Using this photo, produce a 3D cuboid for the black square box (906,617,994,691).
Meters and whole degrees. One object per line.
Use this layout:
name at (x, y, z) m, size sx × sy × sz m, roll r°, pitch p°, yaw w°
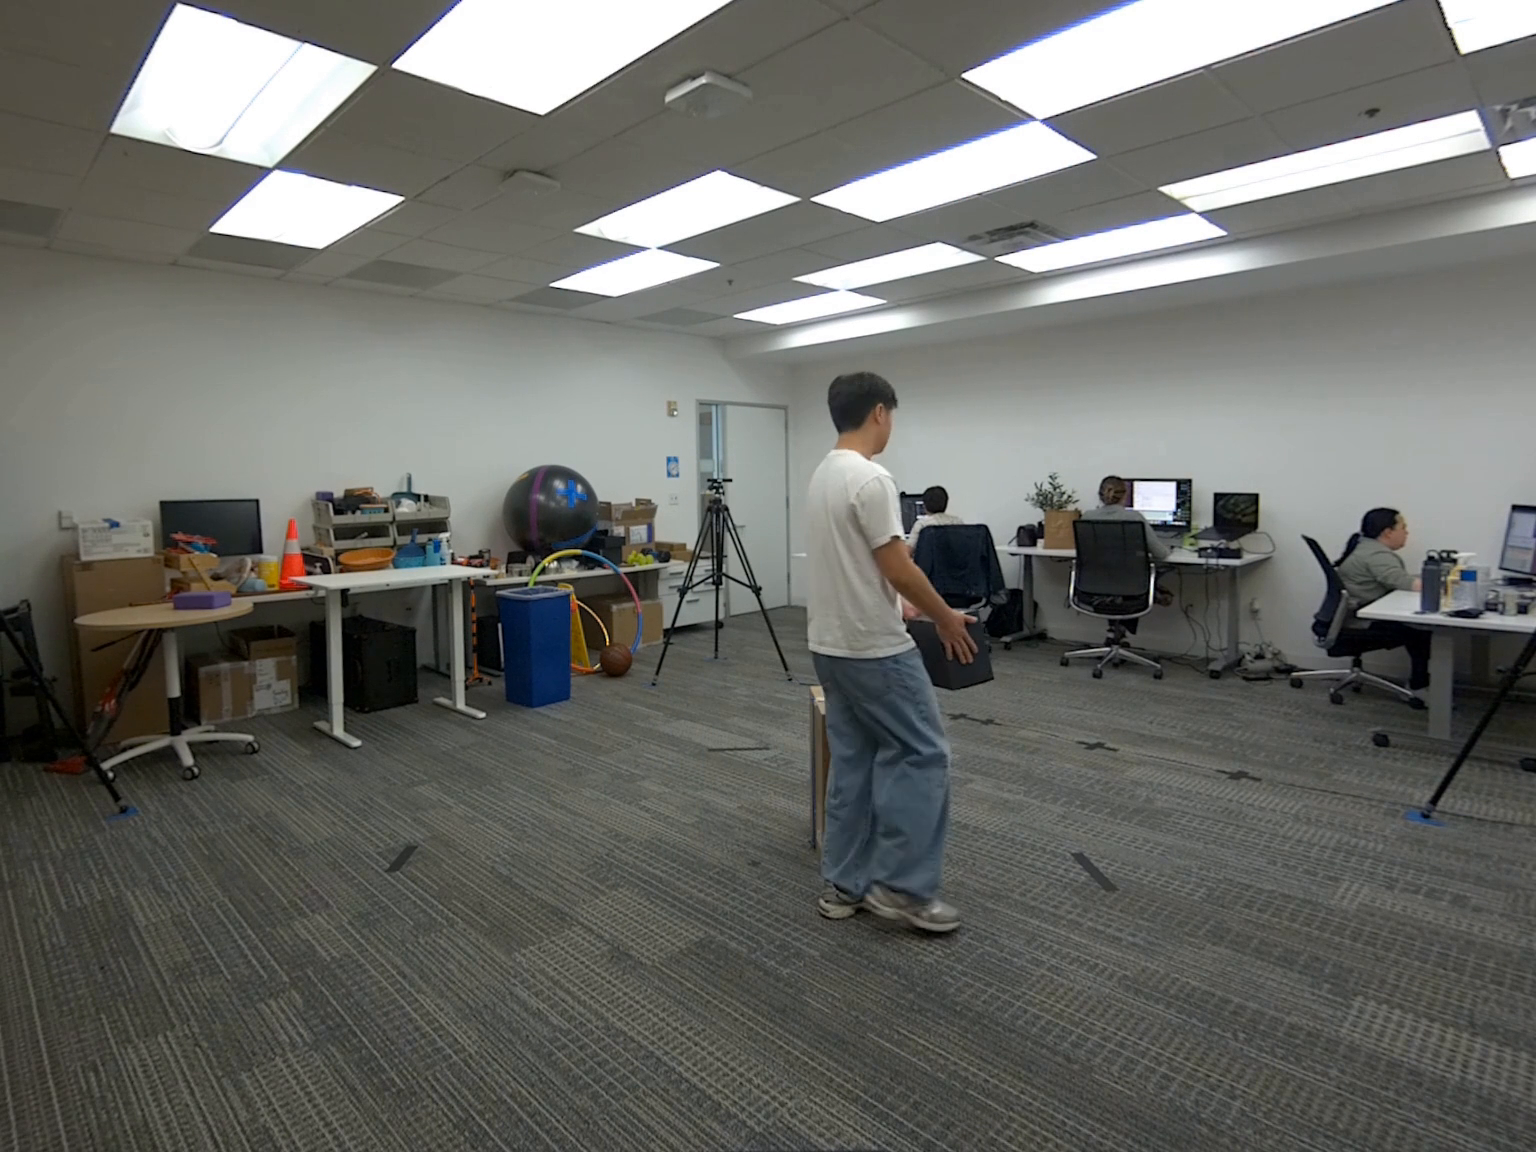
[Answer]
black square box at (0.582, 0.242, 2.827) m, size 0.154 × 0.228 × 0.219 m, roll -9°, pitch 0°, yaw -12°
